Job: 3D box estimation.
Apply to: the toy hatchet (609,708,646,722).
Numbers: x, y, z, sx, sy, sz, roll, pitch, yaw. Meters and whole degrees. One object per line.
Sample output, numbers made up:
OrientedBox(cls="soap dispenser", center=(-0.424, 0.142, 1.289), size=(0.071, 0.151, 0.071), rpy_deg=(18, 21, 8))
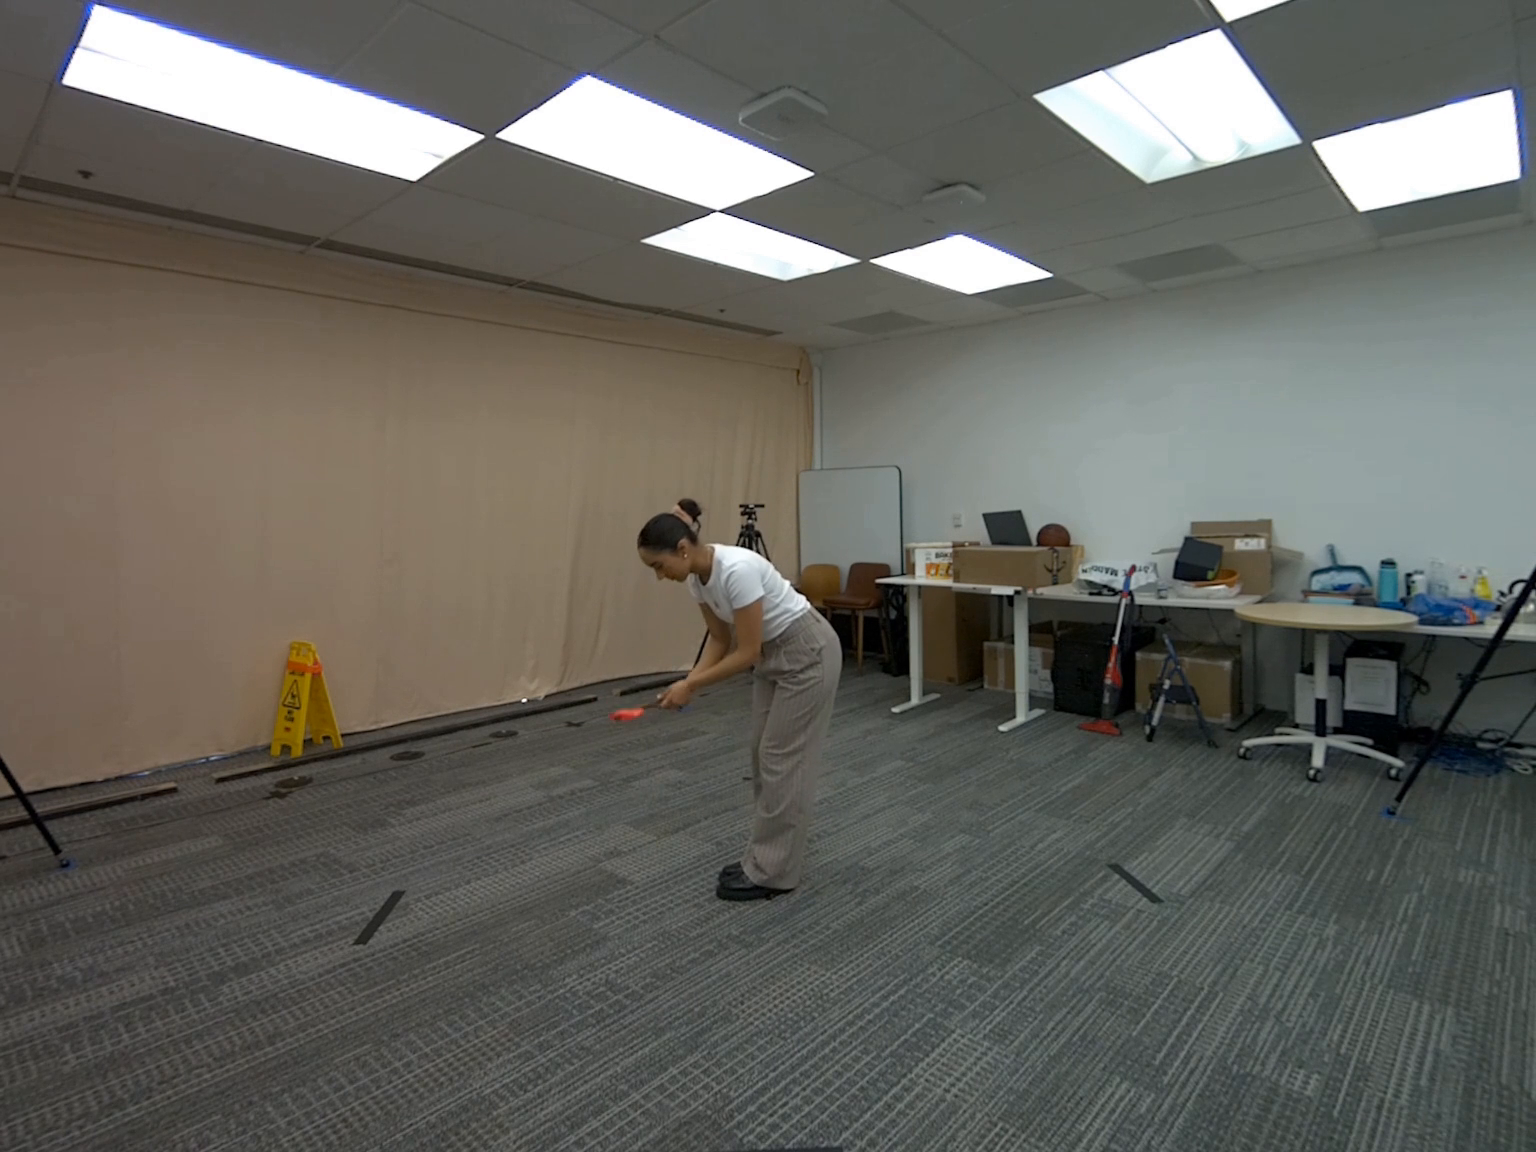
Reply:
OrientedBox(cls="toy hatchet", center=(-0.409, 0.442, 2.859), size=(0.264, 0.029, 0.134), rpy_deg=(-19, 8, -30))
